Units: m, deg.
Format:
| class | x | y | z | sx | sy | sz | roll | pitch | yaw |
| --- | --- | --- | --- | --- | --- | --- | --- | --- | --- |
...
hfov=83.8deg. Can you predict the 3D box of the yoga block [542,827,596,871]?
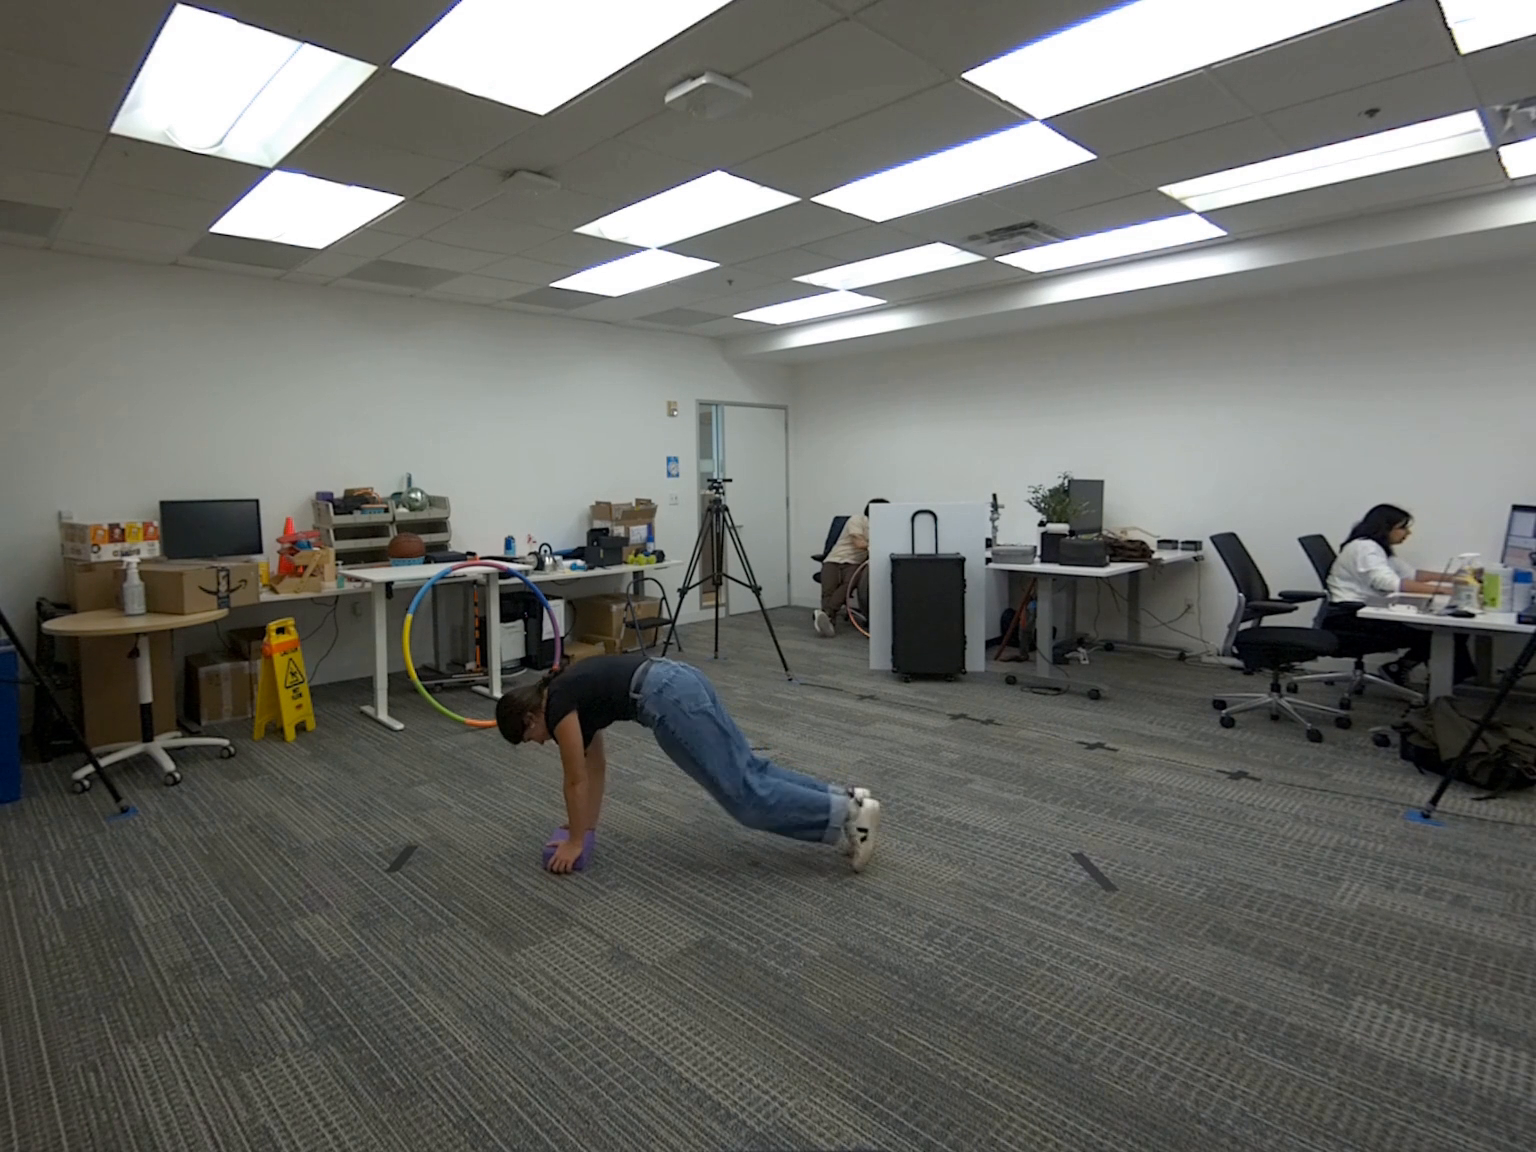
| class | x | y | z | sx | sy | sz | roll | pitch | yaw |
| --- | --- | --- | --- | --- | --- | --- | --- | --- | --- |
| yoga block | -0.741 | 1.009 | 3.199 | 0.149 | 0.076 | 0.230 | 1 | 7 | 0 |
